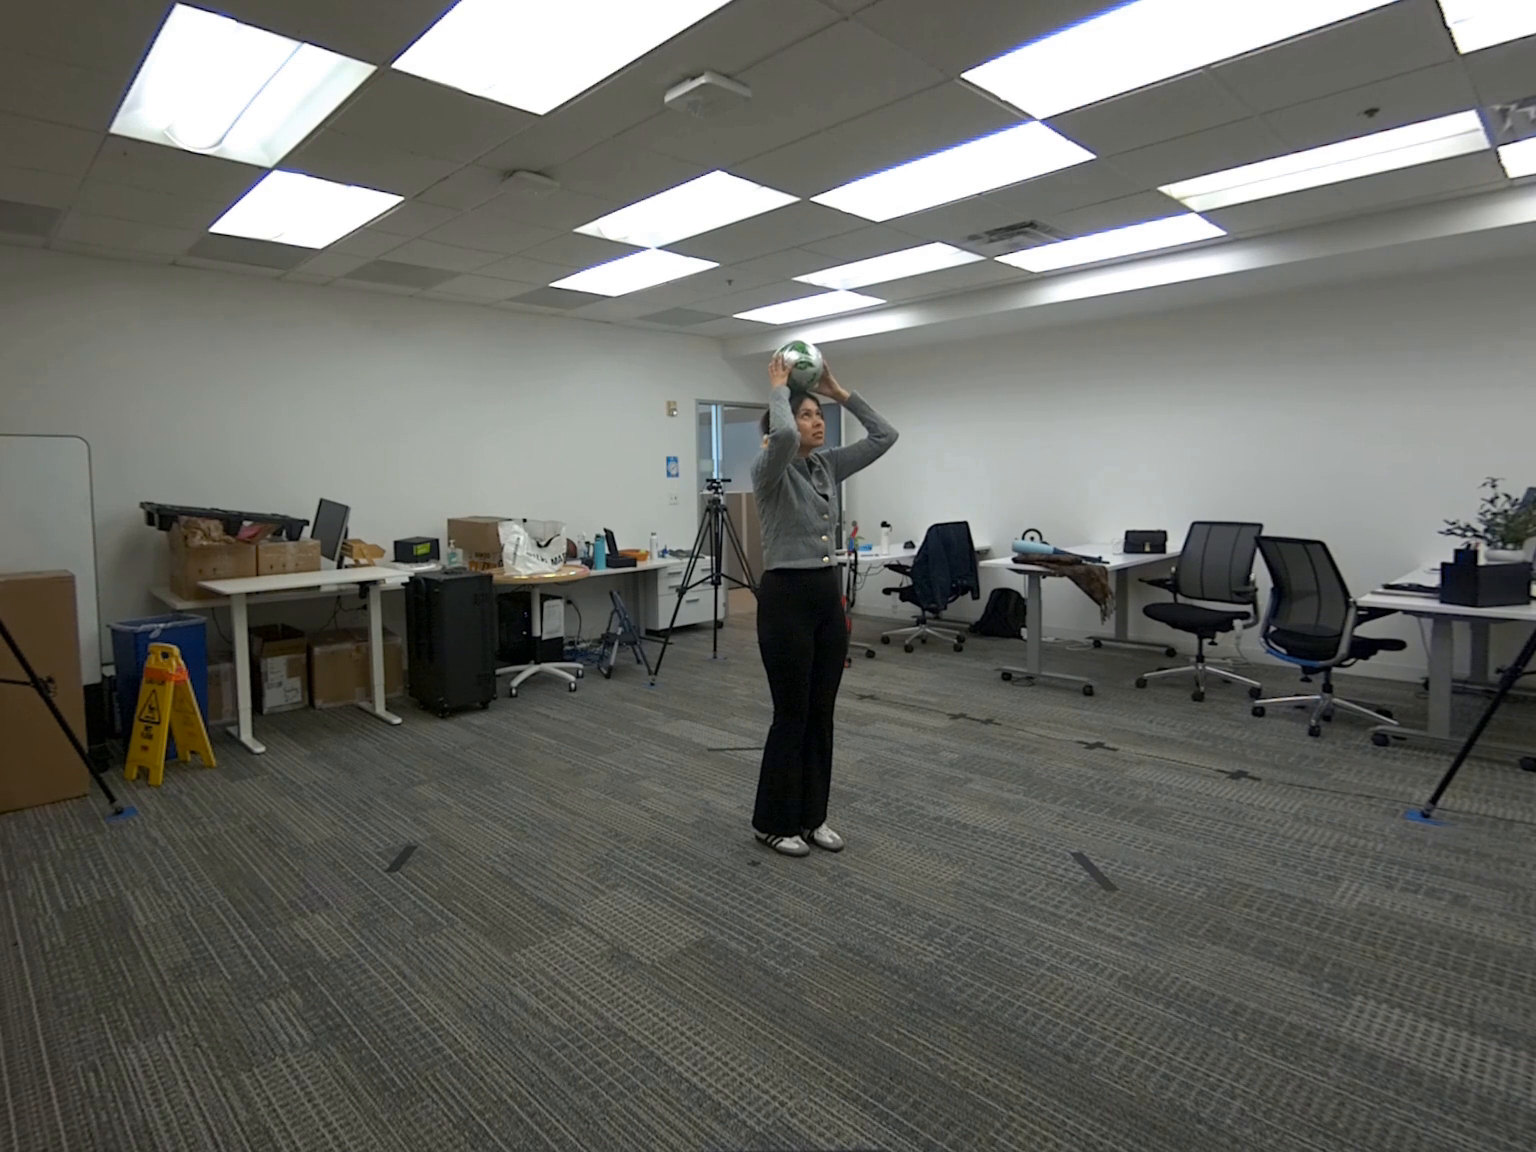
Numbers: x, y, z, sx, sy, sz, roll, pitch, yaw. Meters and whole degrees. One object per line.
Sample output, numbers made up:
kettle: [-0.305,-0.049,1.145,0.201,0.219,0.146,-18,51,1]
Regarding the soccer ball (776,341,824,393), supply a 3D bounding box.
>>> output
soccer ball: [0.109,-0.763,3.117,0.187,0.187,0.188,-1,5,-2]
